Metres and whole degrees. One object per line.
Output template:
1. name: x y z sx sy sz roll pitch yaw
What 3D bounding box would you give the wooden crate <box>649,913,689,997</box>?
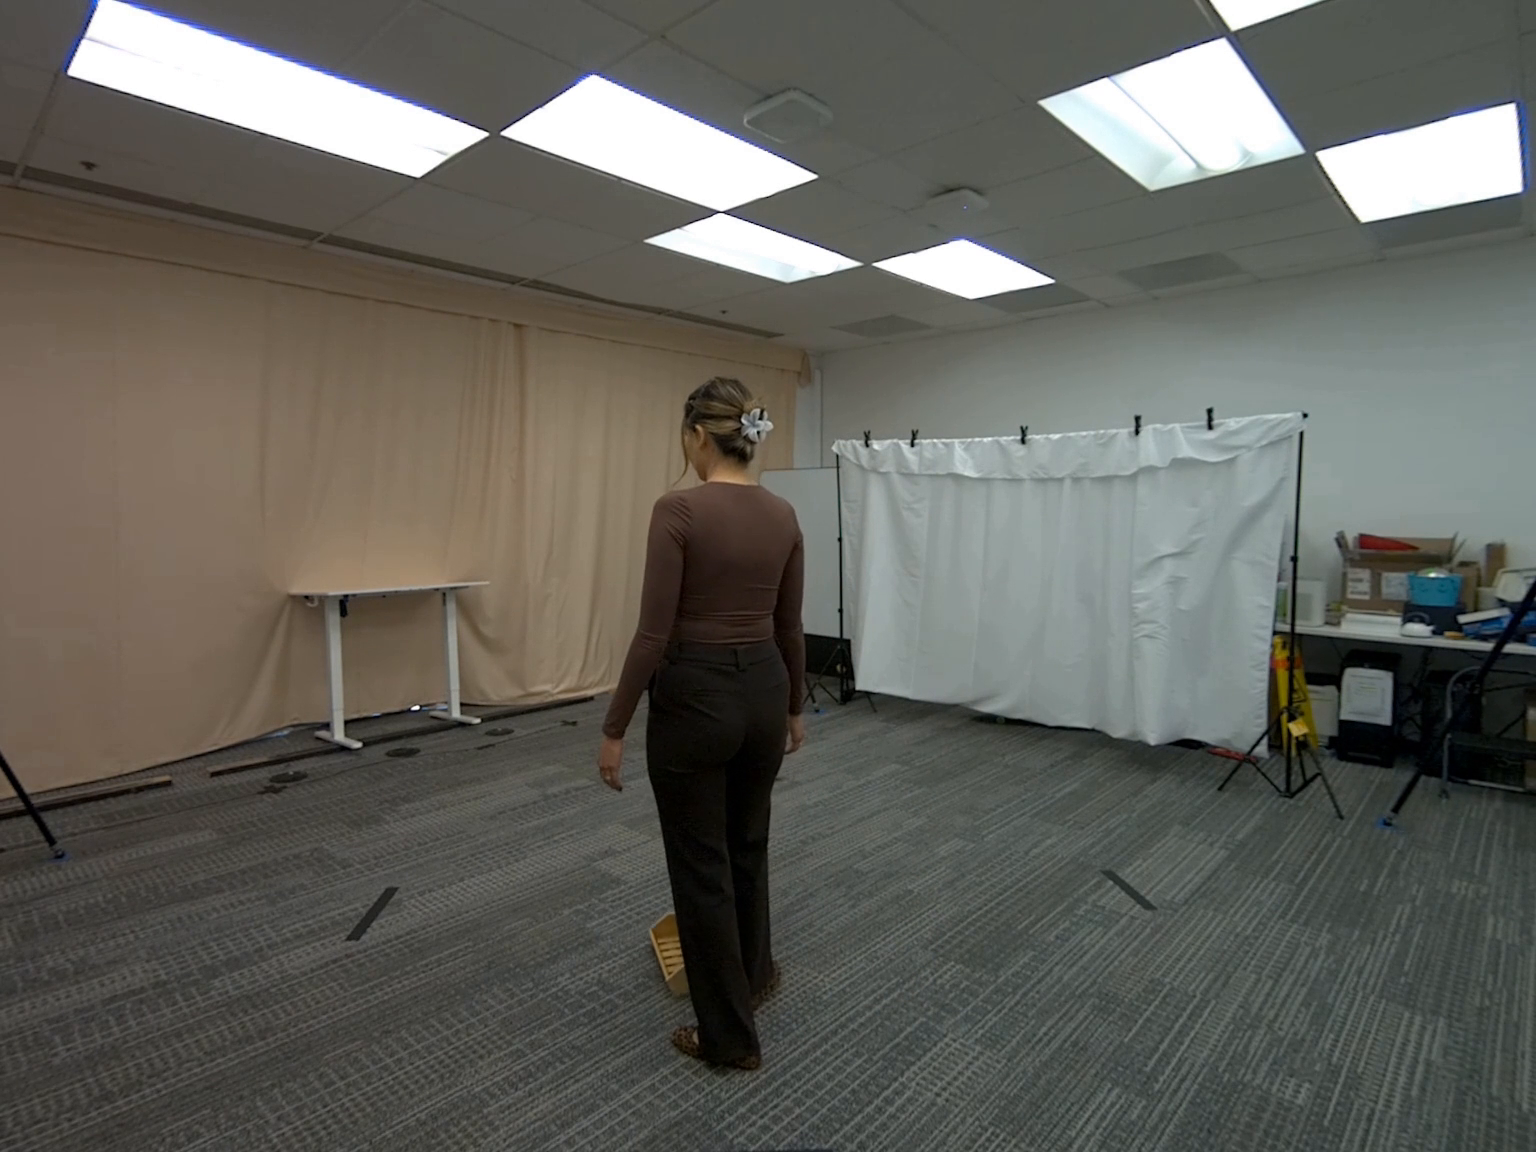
1. wooden crate: -0.200 1.049 2.562 0.297 0.272 0.331 -1 4 -16
